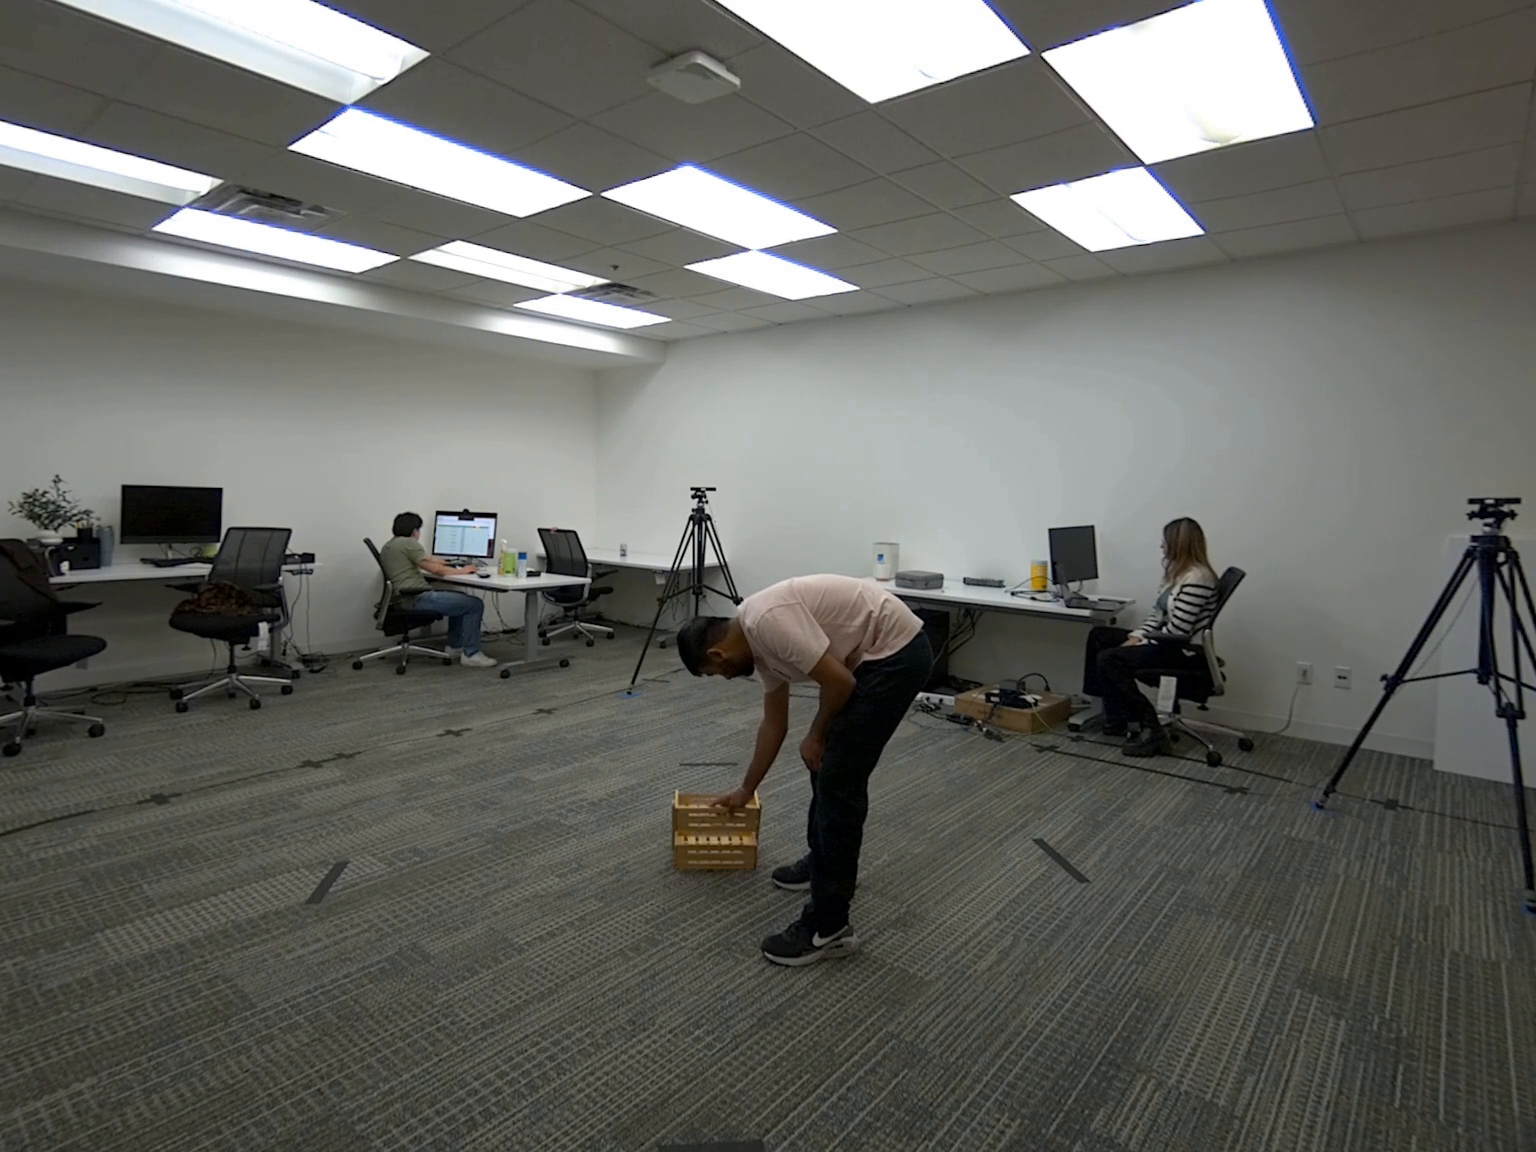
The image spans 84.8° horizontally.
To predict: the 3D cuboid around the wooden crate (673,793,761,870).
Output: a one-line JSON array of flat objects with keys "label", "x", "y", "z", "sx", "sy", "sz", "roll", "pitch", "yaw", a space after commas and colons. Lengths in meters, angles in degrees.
[{"label": "wooden crate", "x": -0.210, "y": 0.921, "z": 3.186, "sx": 0.323, "sy": 0.271, "sz": 0.306, "roll": 1, "pitch": 9, "yaw": -4}]
